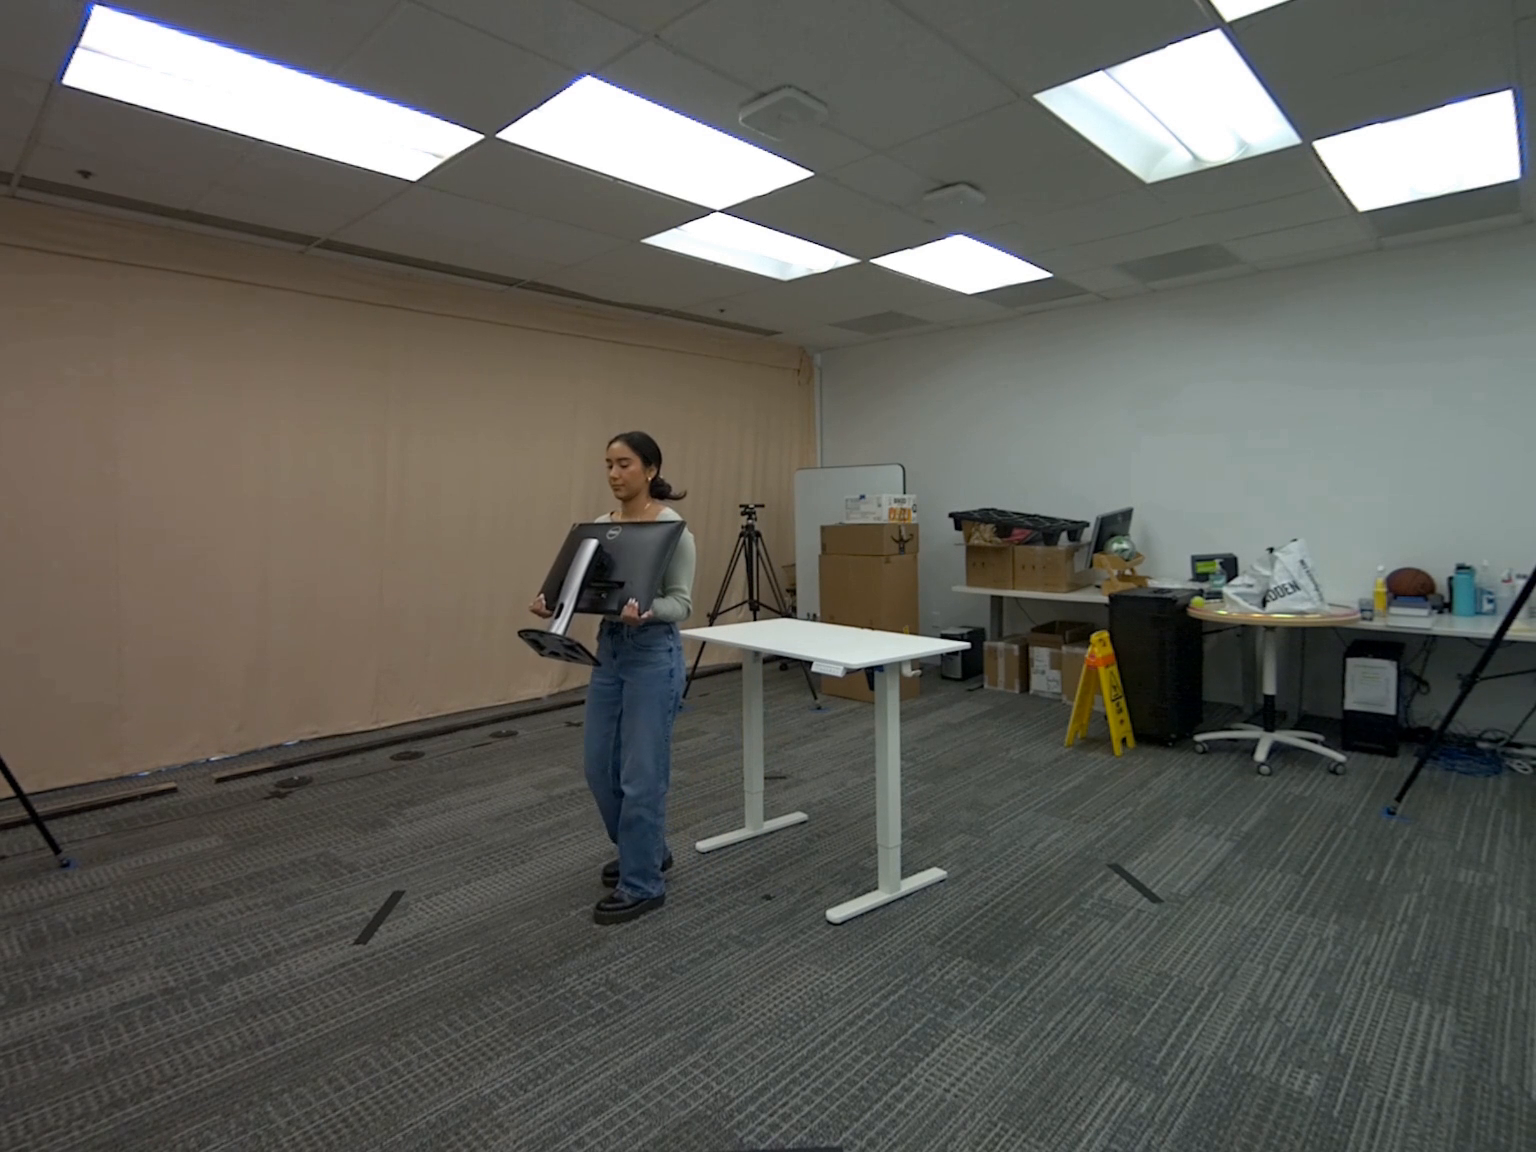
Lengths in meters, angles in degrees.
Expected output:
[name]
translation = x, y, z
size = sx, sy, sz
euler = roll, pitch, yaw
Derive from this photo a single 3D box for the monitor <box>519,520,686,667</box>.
[monitor]
translation = -0.578, 0.026, 2.750
size = 0.556, 0.523, 0.181
euler = 2, -38, 36
